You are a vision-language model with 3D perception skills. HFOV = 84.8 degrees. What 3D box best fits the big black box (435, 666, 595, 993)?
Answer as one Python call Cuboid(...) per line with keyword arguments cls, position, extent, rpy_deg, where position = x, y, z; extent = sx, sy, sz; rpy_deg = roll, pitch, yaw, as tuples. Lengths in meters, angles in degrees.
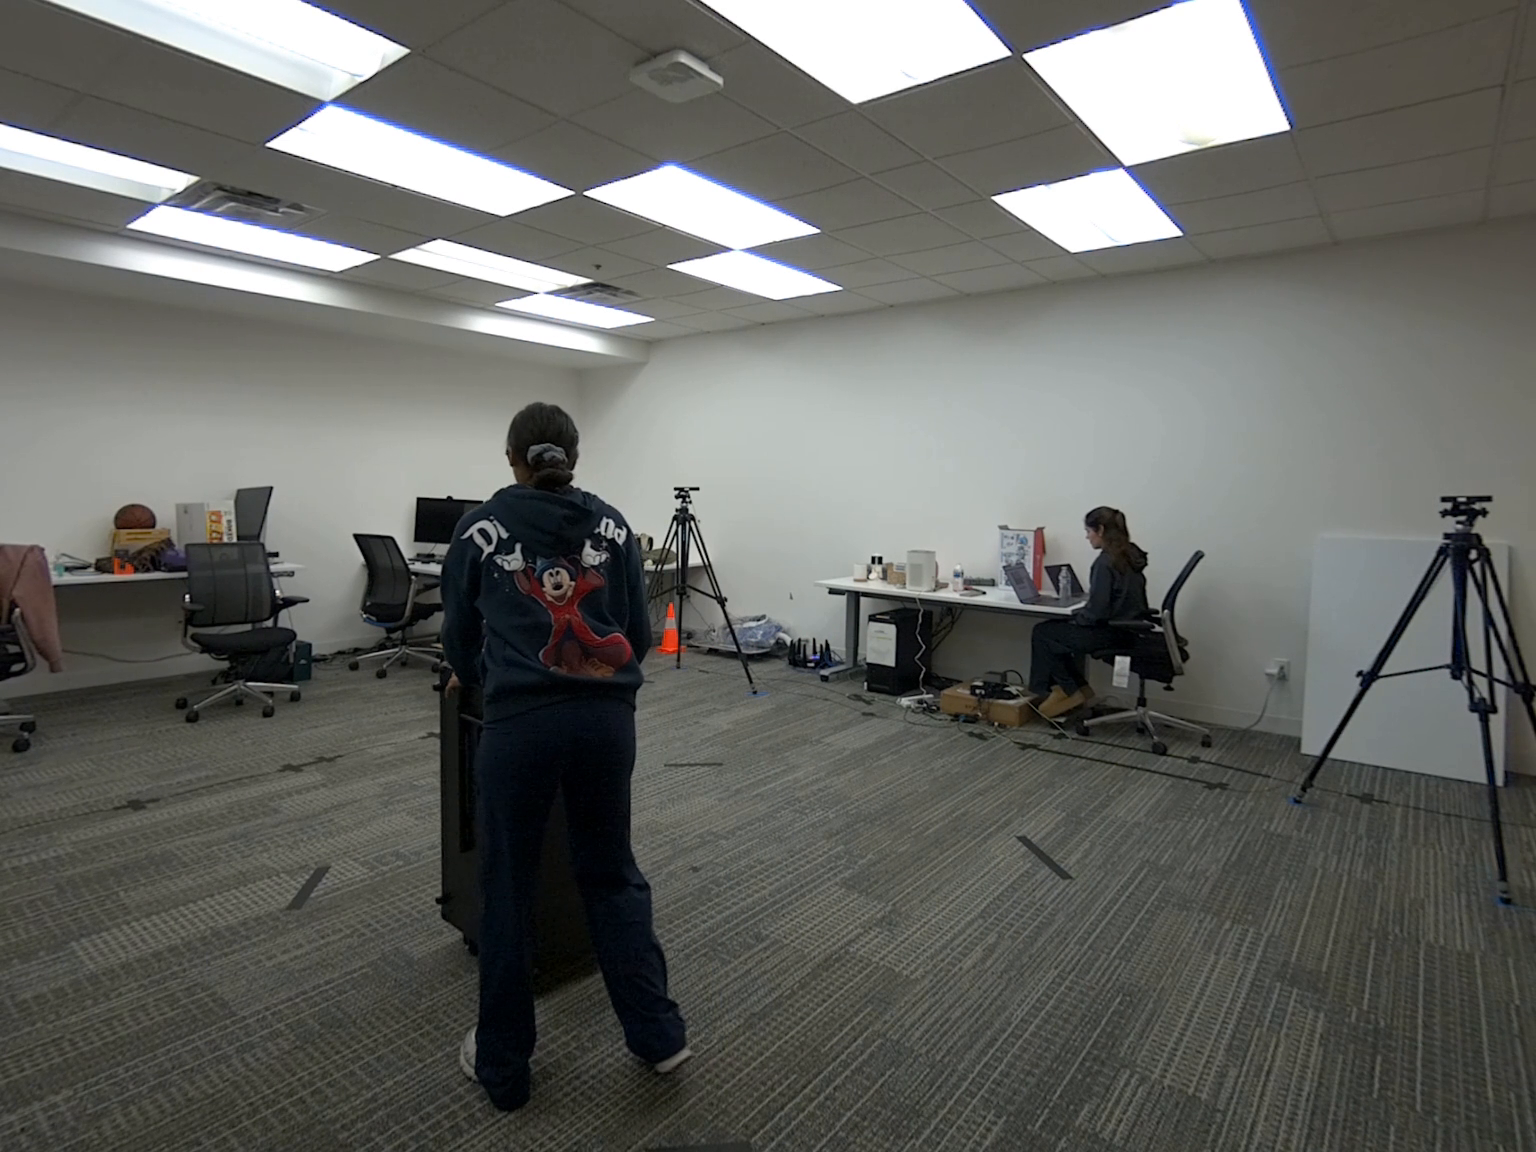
Cuboid(cls="big black box", position=(-0.703, 0.696, 2.515), extent=(0.539, 0.858, 0.384), rpy_deg=(5, 6, 43))
